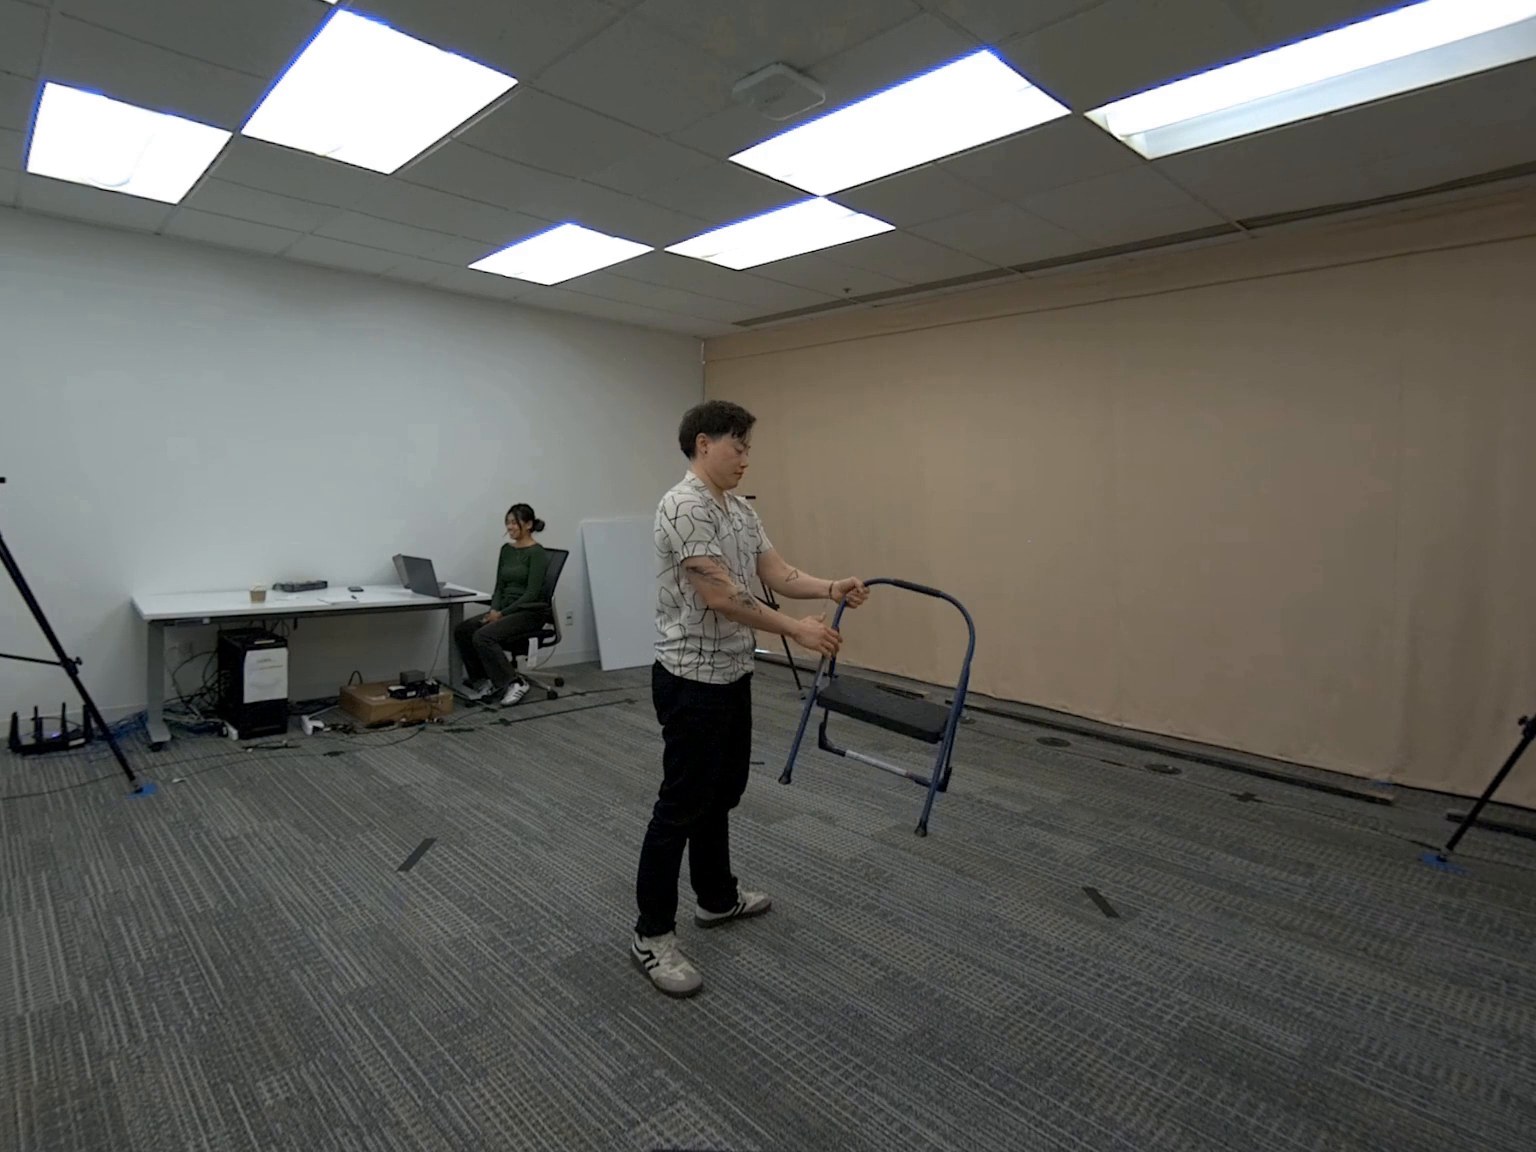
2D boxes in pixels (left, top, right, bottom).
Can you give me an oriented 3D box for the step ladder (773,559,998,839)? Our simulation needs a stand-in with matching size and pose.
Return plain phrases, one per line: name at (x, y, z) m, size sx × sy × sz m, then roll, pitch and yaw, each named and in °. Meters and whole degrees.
step ladder at (0.334, 0.316, 2.394) m, size 0.439 × 0.602 × 0.344 m, roll 16°, pitch 11°, yaw 22°
